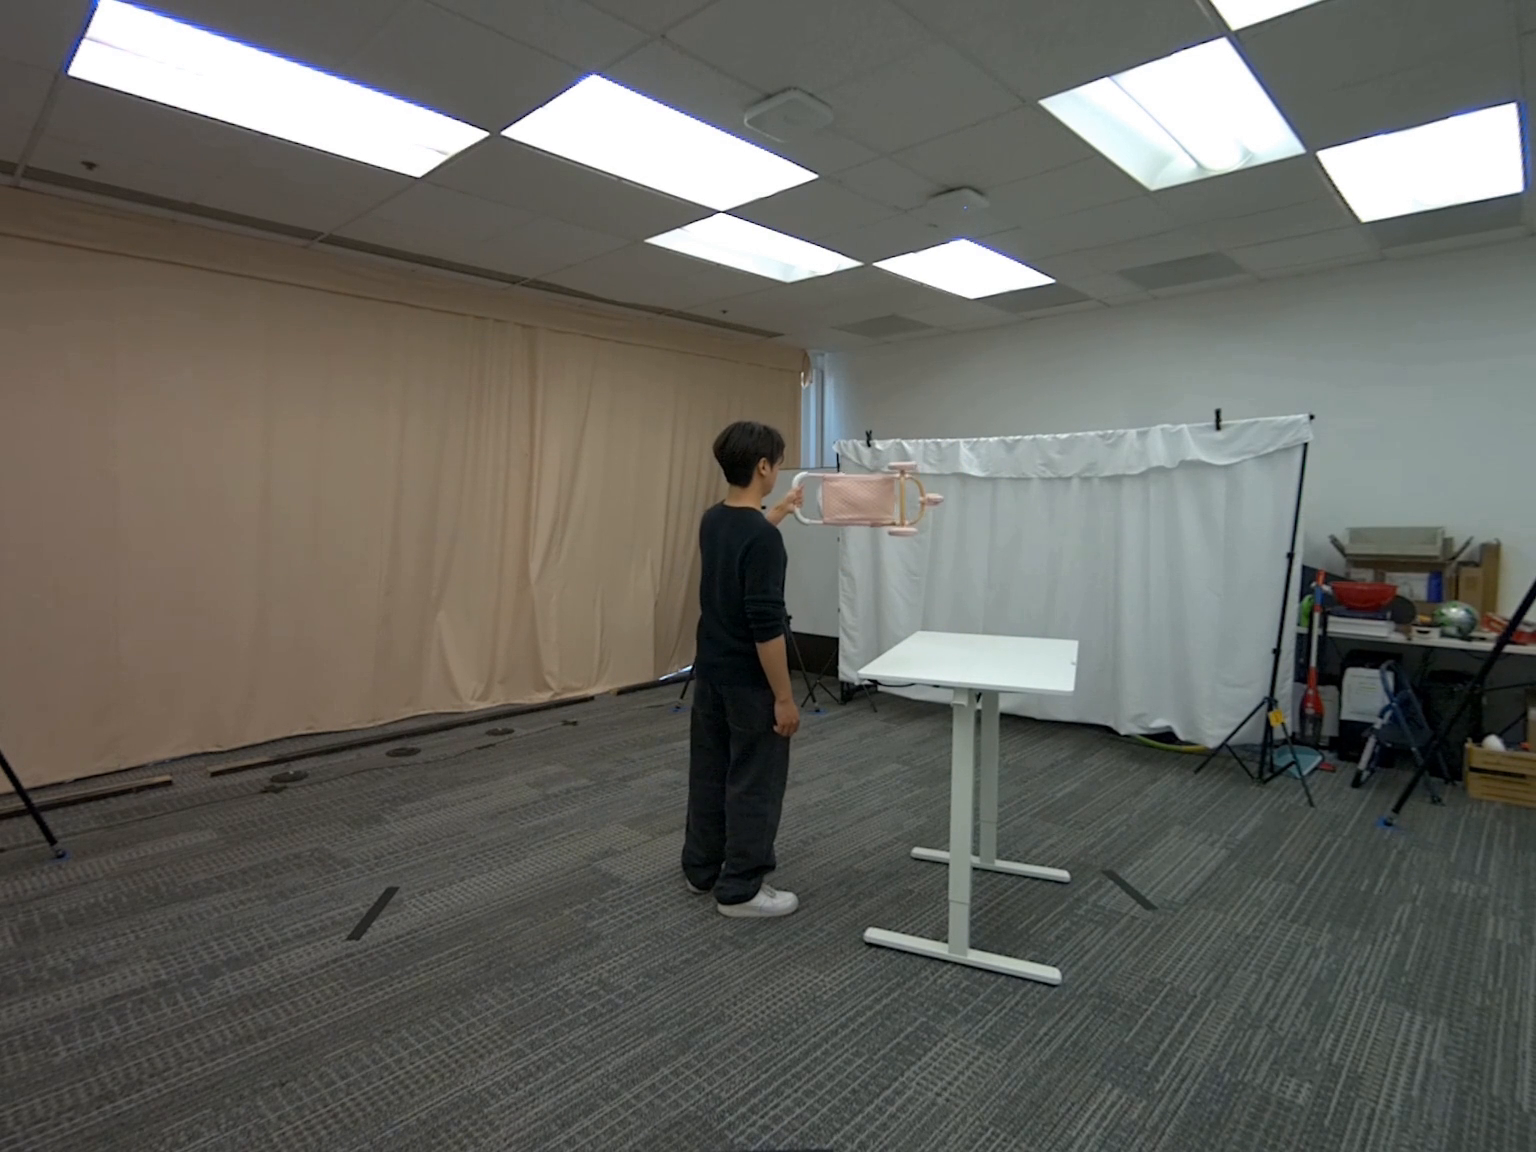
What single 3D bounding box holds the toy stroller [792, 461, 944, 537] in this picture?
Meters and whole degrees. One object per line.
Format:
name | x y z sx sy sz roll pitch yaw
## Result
toy stroller | 0.404 -0.299 3.320 0.548 0.280 0.334 1 5 23
